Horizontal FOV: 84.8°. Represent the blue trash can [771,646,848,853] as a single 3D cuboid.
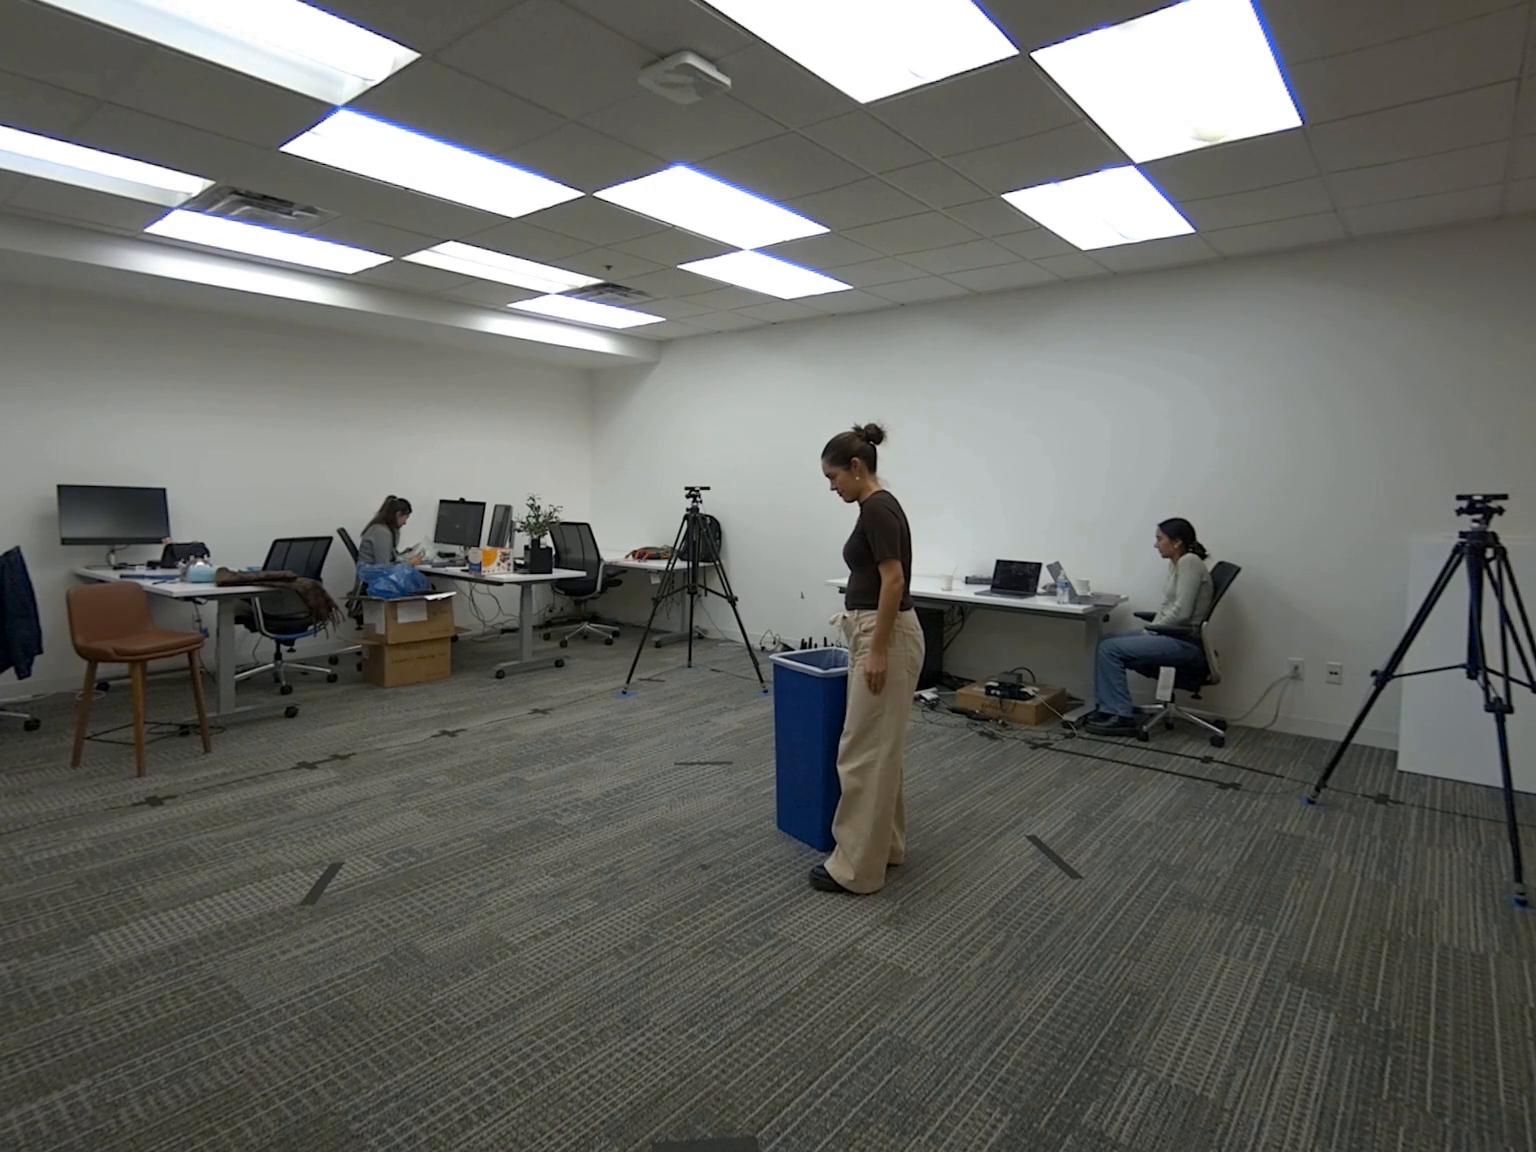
[{"bbox_3d":[0.229,0.680,3.443,0.367,0.711,0.386,-2,5,-35],"label":"blue trash can"}]
